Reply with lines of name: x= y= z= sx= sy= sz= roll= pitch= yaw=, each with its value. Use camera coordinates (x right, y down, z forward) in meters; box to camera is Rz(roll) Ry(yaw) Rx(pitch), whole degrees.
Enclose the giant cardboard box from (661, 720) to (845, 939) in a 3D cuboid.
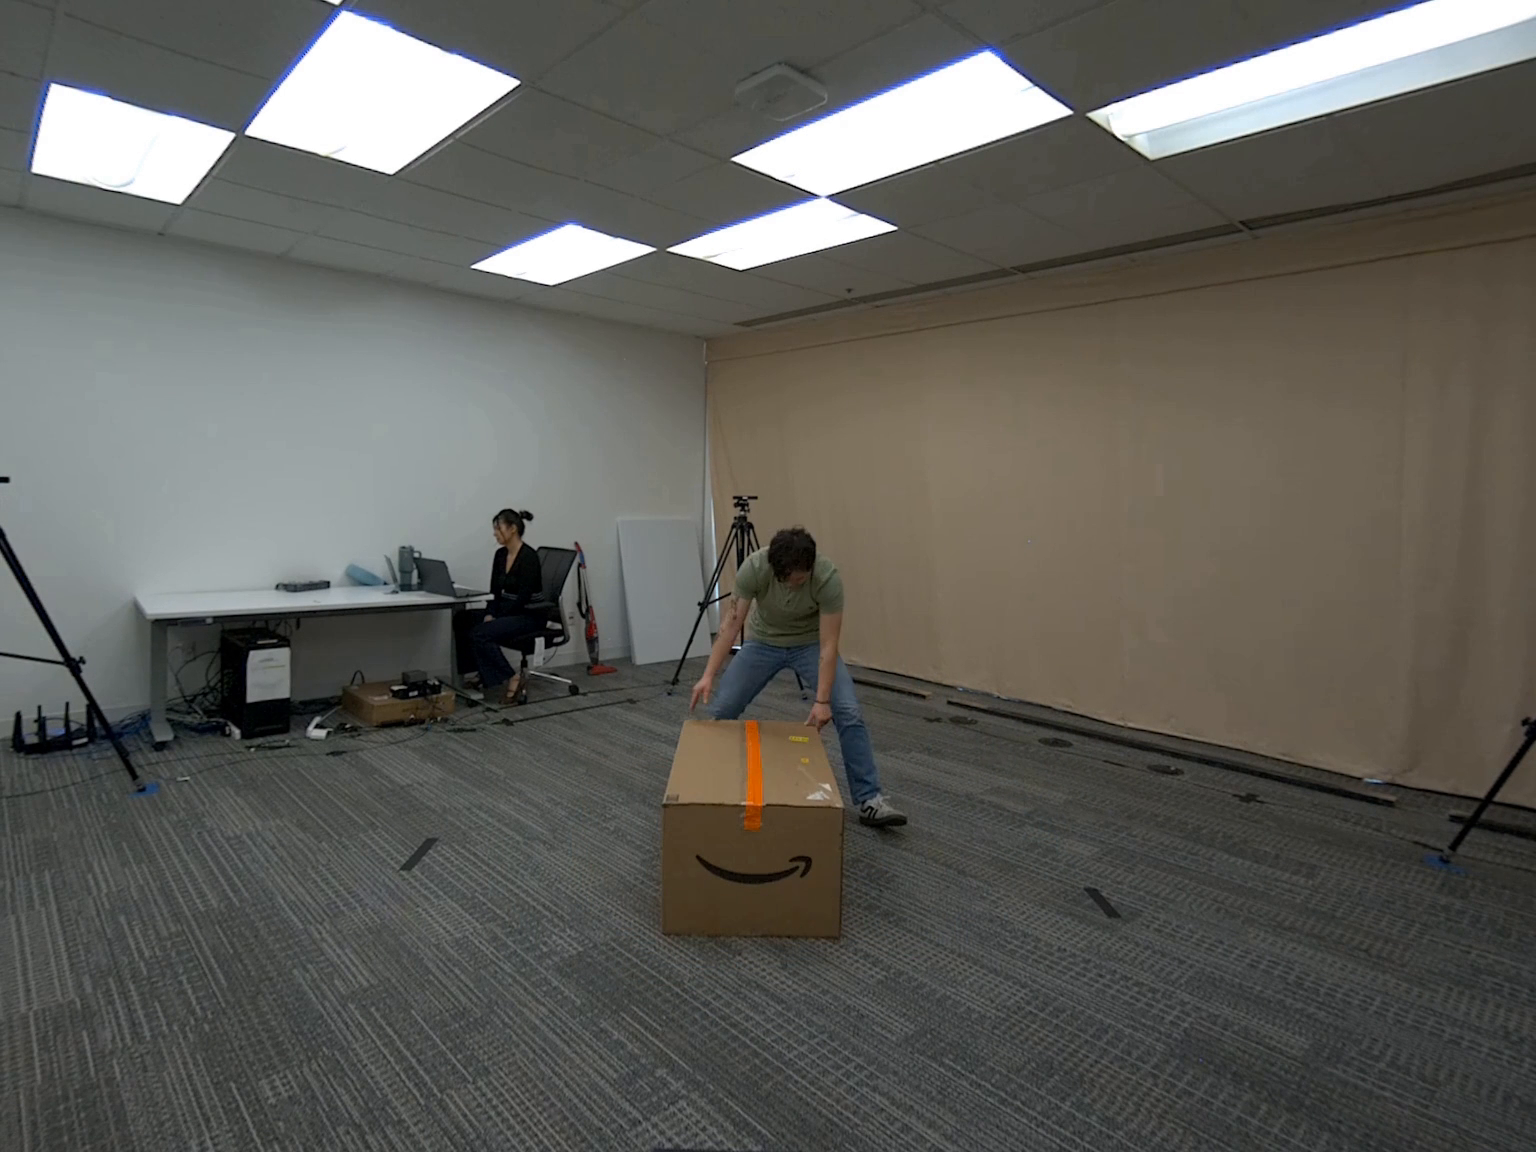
giant cardboard box: x=-0.064 y=0.882 z=3.154 sx=0.577 sy=0.425 sz=1.029 roll=2 pitch=4 yaw=-1
